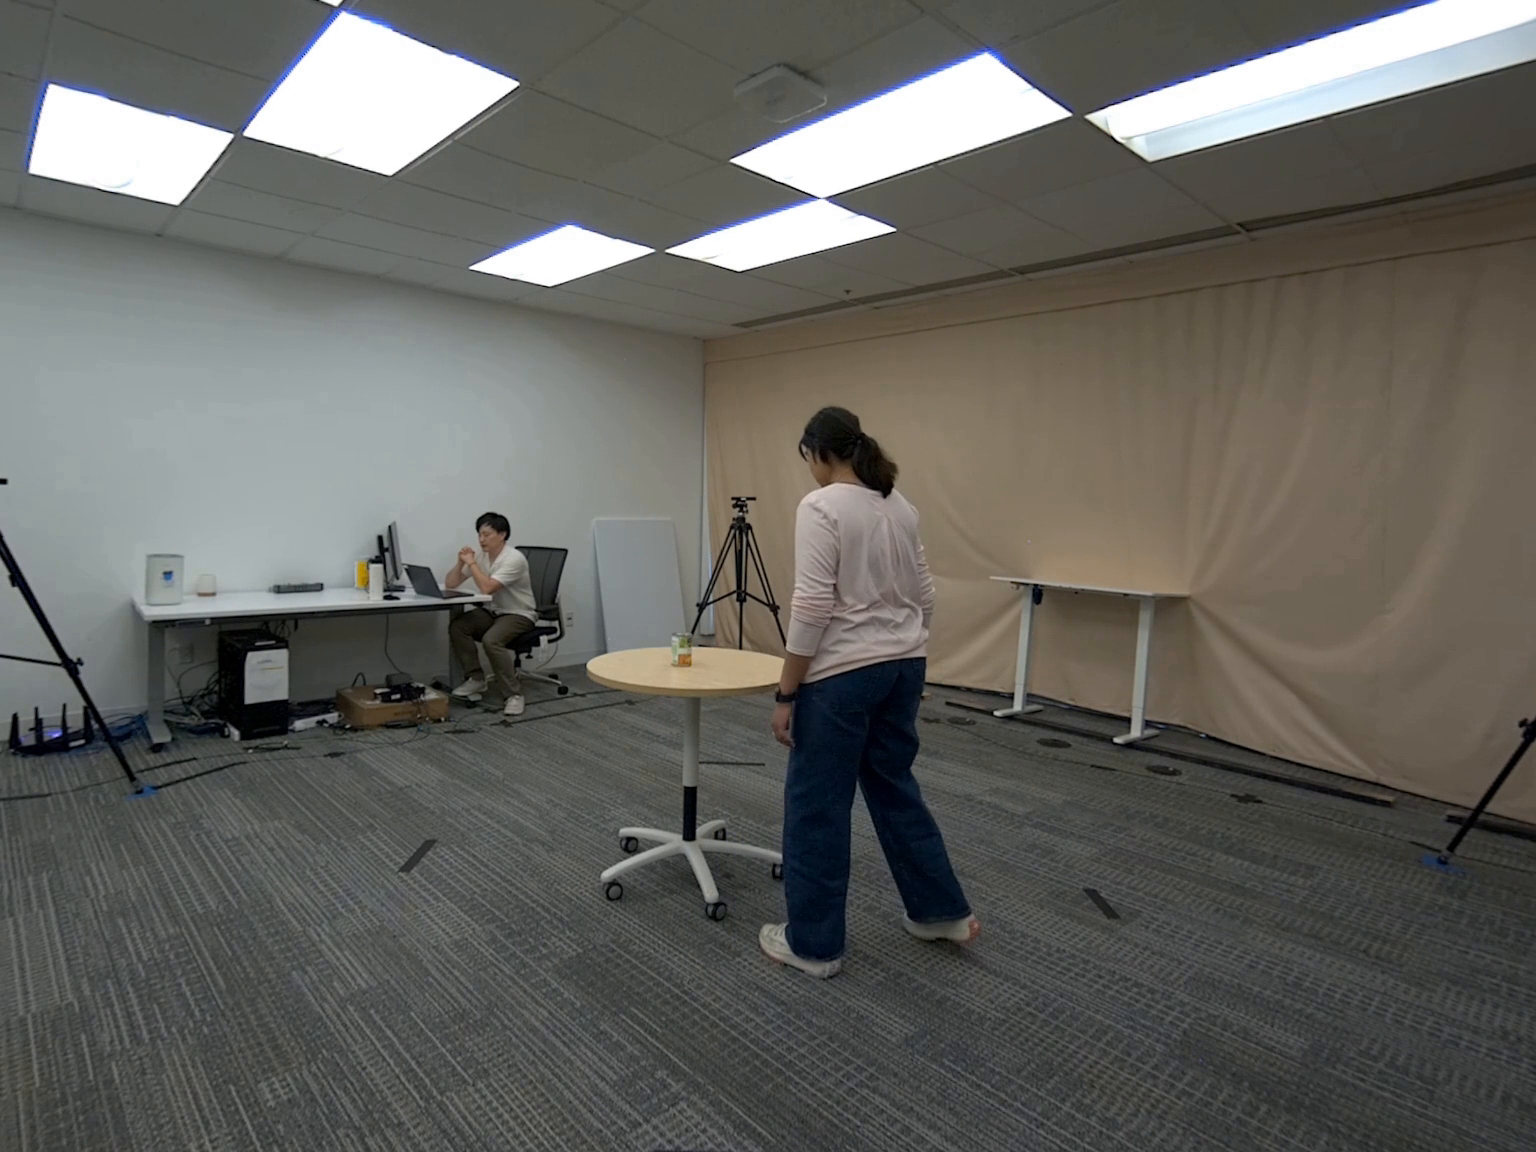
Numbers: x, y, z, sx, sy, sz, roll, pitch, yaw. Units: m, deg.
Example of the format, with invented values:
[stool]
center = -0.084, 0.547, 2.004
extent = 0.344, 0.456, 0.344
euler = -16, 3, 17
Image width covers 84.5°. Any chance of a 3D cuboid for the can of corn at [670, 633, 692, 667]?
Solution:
[can of corn]
center = -0.315, 0.268, 3.043
extent = 0.074, 0.111, 0.074
euler = 2, 3, -1
